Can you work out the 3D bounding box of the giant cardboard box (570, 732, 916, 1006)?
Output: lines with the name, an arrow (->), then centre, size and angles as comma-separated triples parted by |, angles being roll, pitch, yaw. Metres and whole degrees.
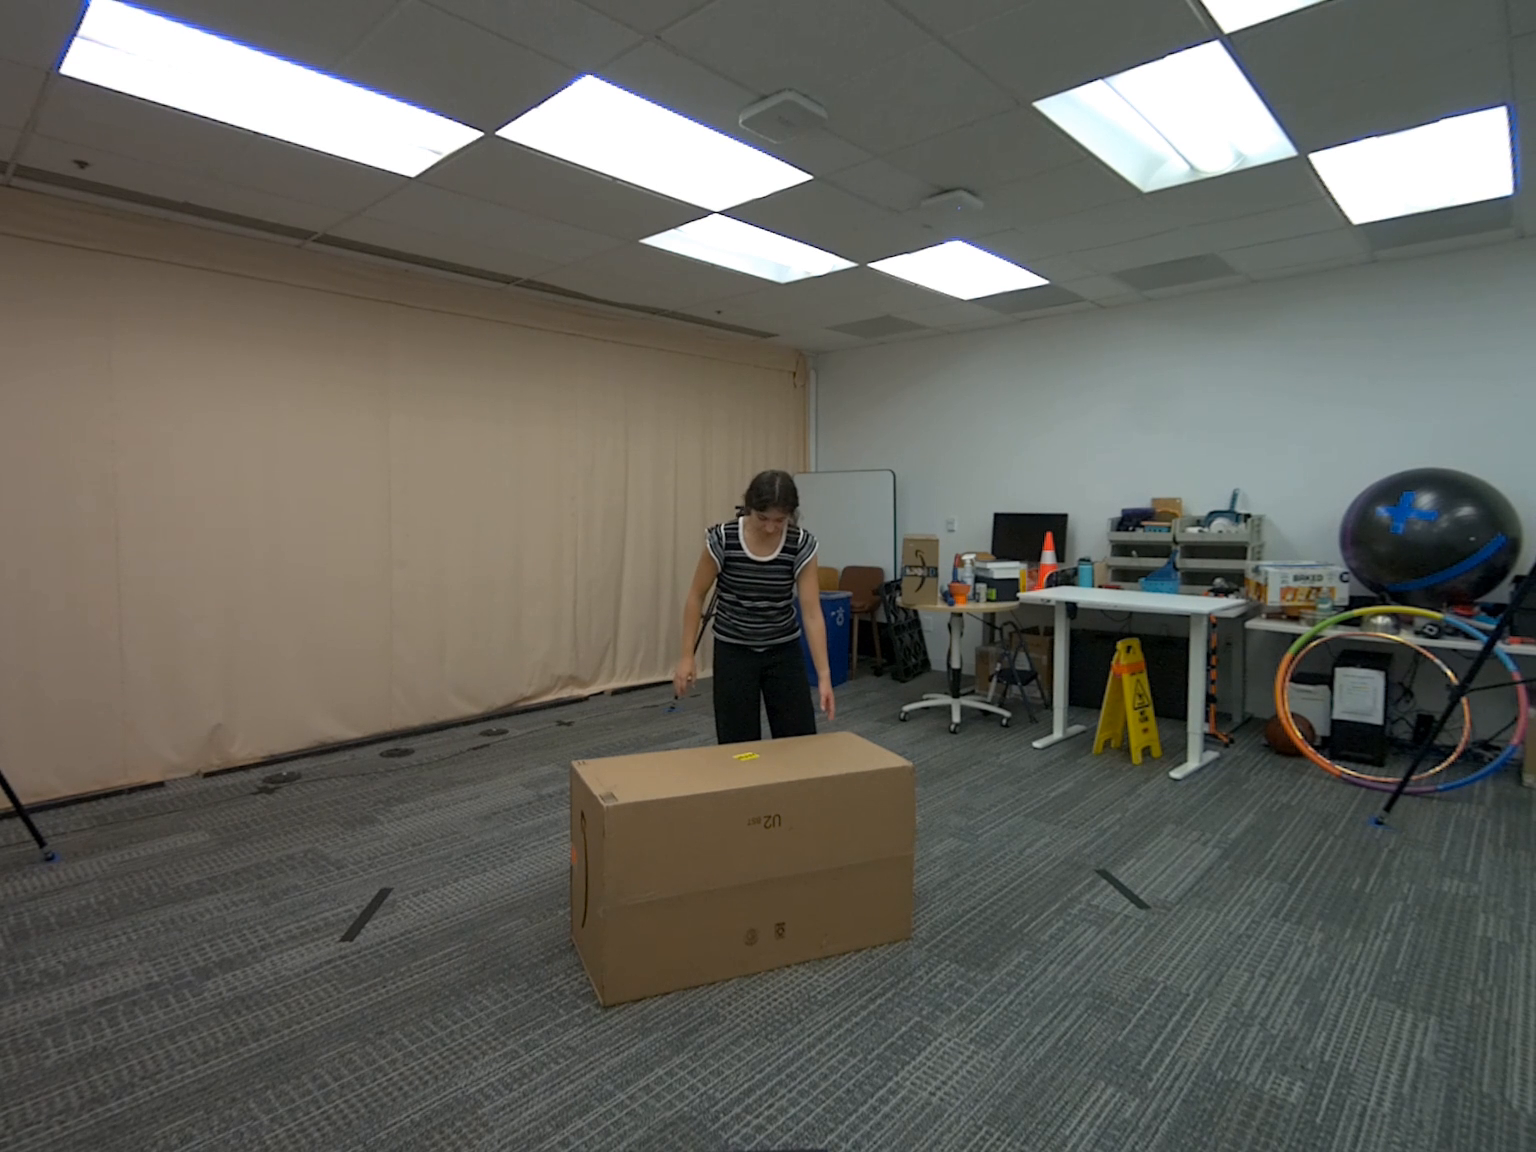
giant cardboard box -> -0.082, 0.883, 2.694 | 1.003, 0.576, 0.436 | -2, 4, -22
